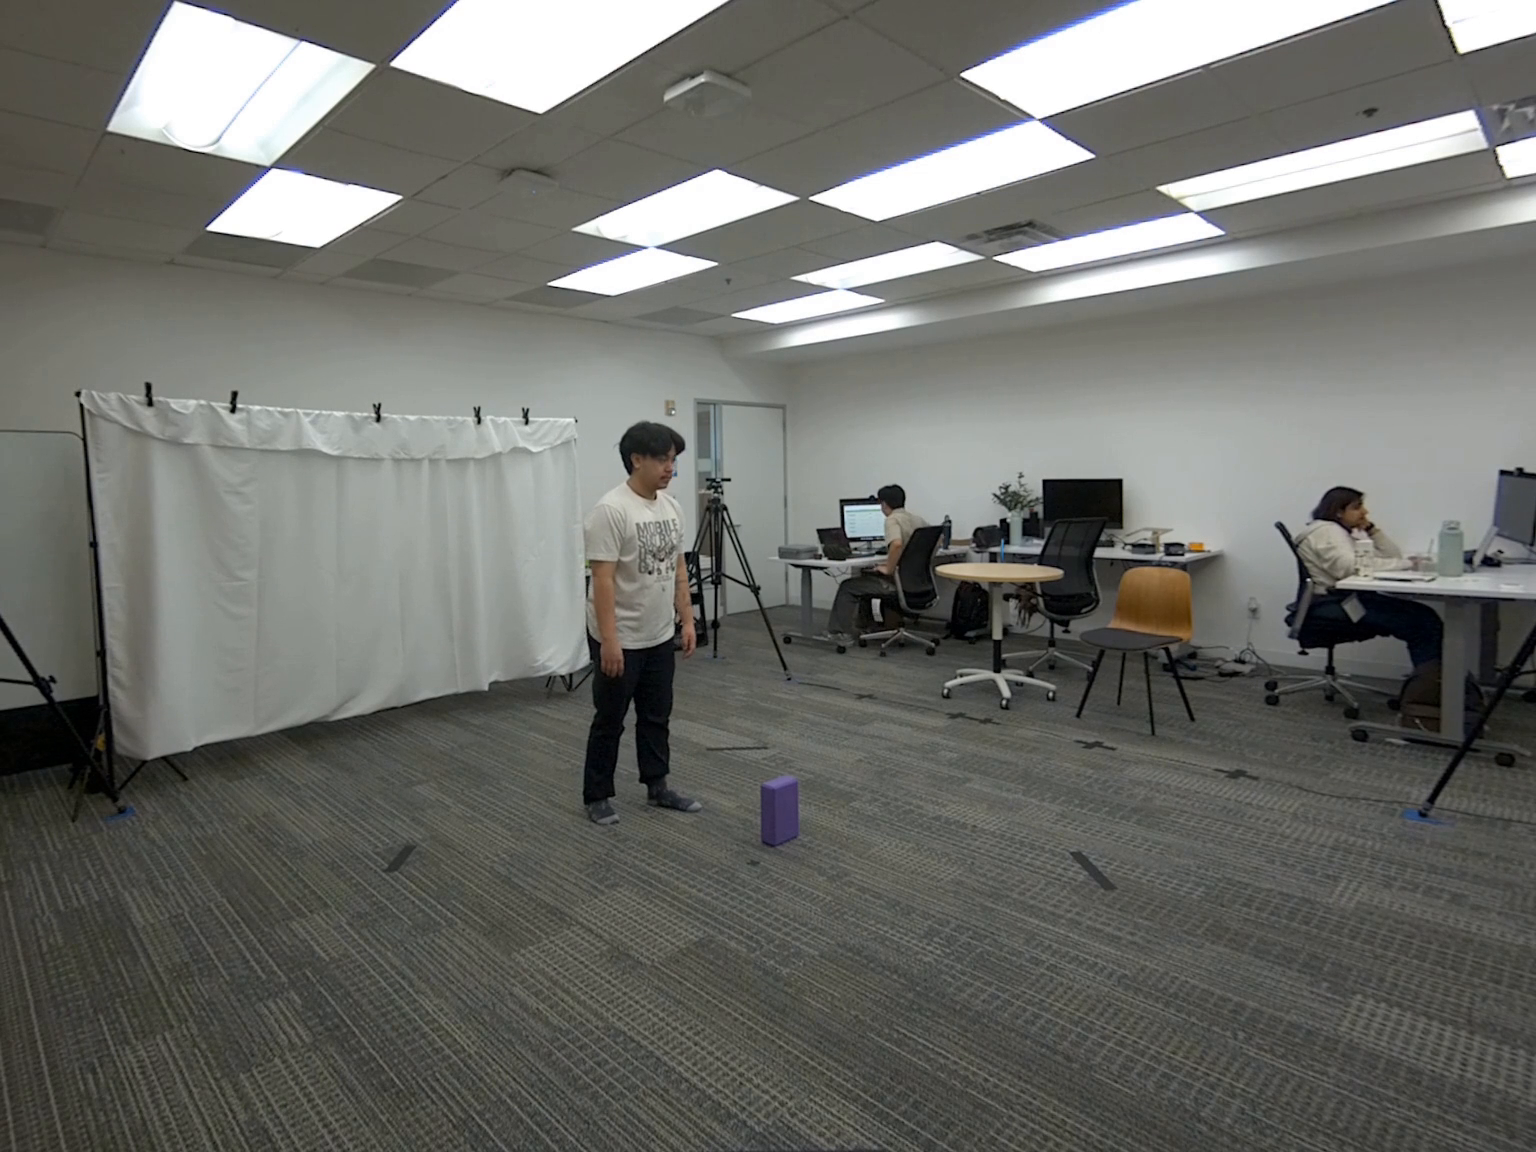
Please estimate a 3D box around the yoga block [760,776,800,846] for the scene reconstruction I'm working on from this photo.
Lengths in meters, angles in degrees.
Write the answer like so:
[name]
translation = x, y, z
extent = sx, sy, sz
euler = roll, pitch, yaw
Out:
[yoga block]
translation = 0.049, 0.903, 3.301
extent = 0.145, 0.229, 0.079
euler = -3, 5, -44
